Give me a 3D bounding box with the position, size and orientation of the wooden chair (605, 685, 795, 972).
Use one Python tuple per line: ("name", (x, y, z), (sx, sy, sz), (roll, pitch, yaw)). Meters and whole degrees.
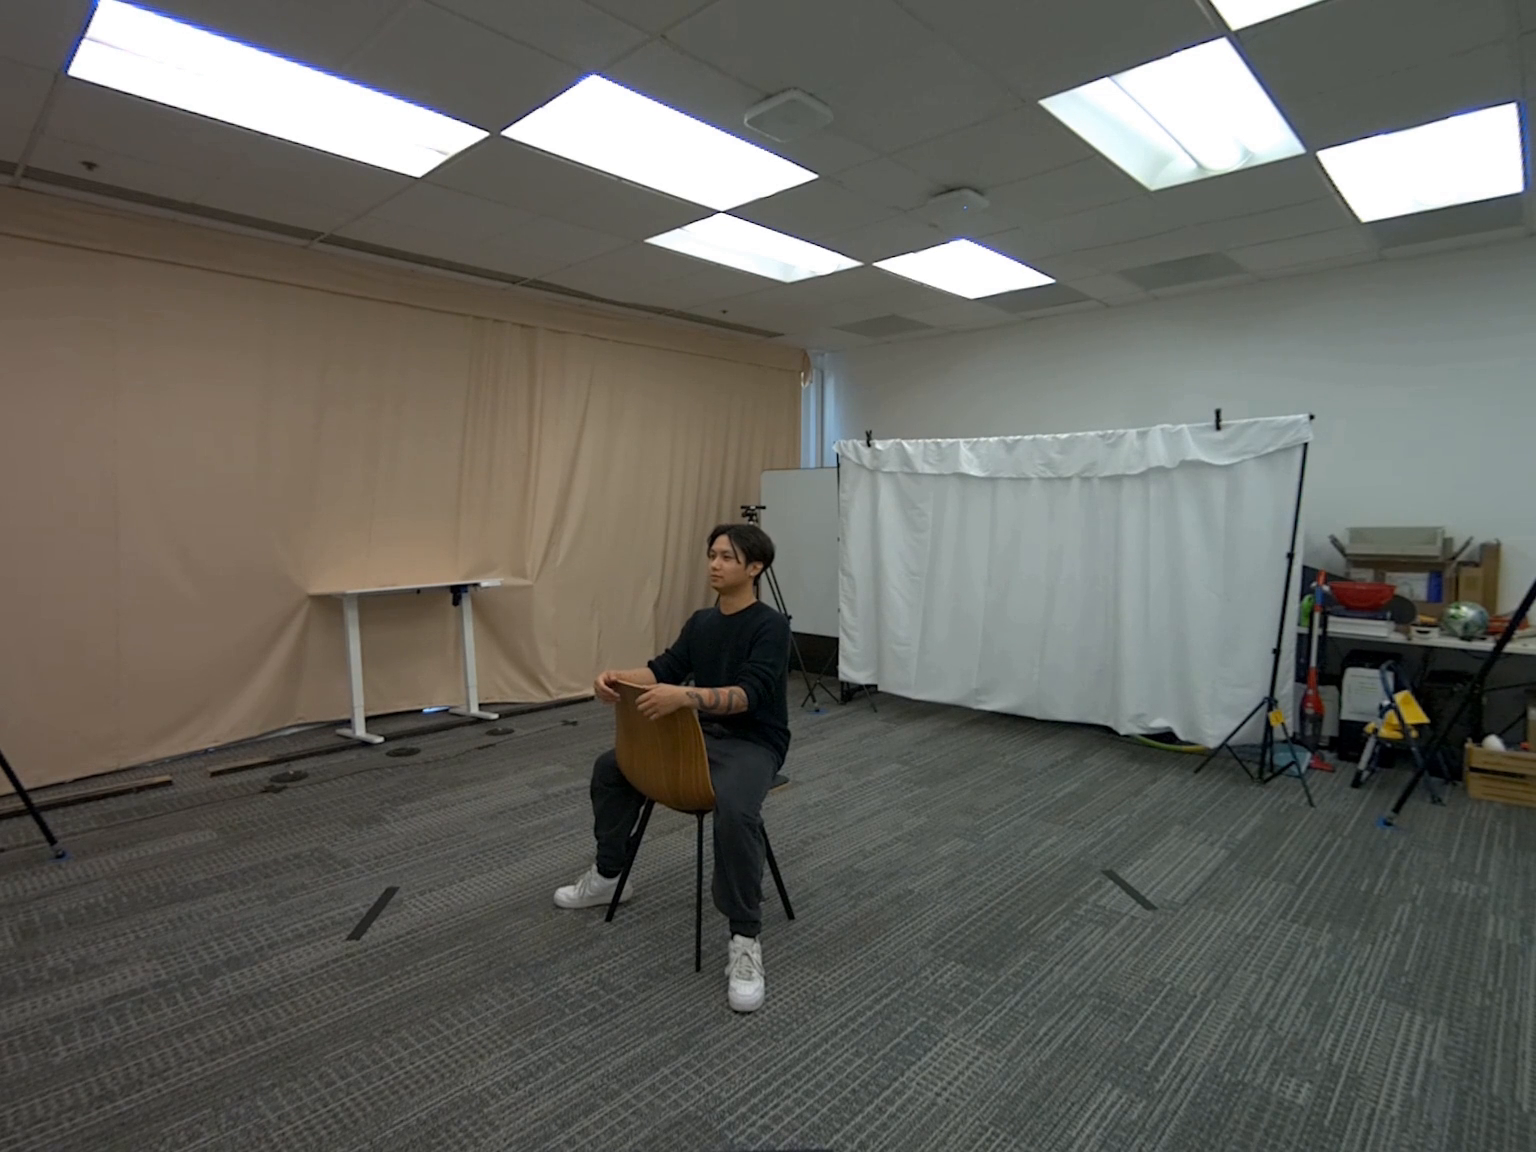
("wooden chair", (-0.218, 0.728, 2.817), (0.494, 0.874, 0.508), (2, 8, 44))
